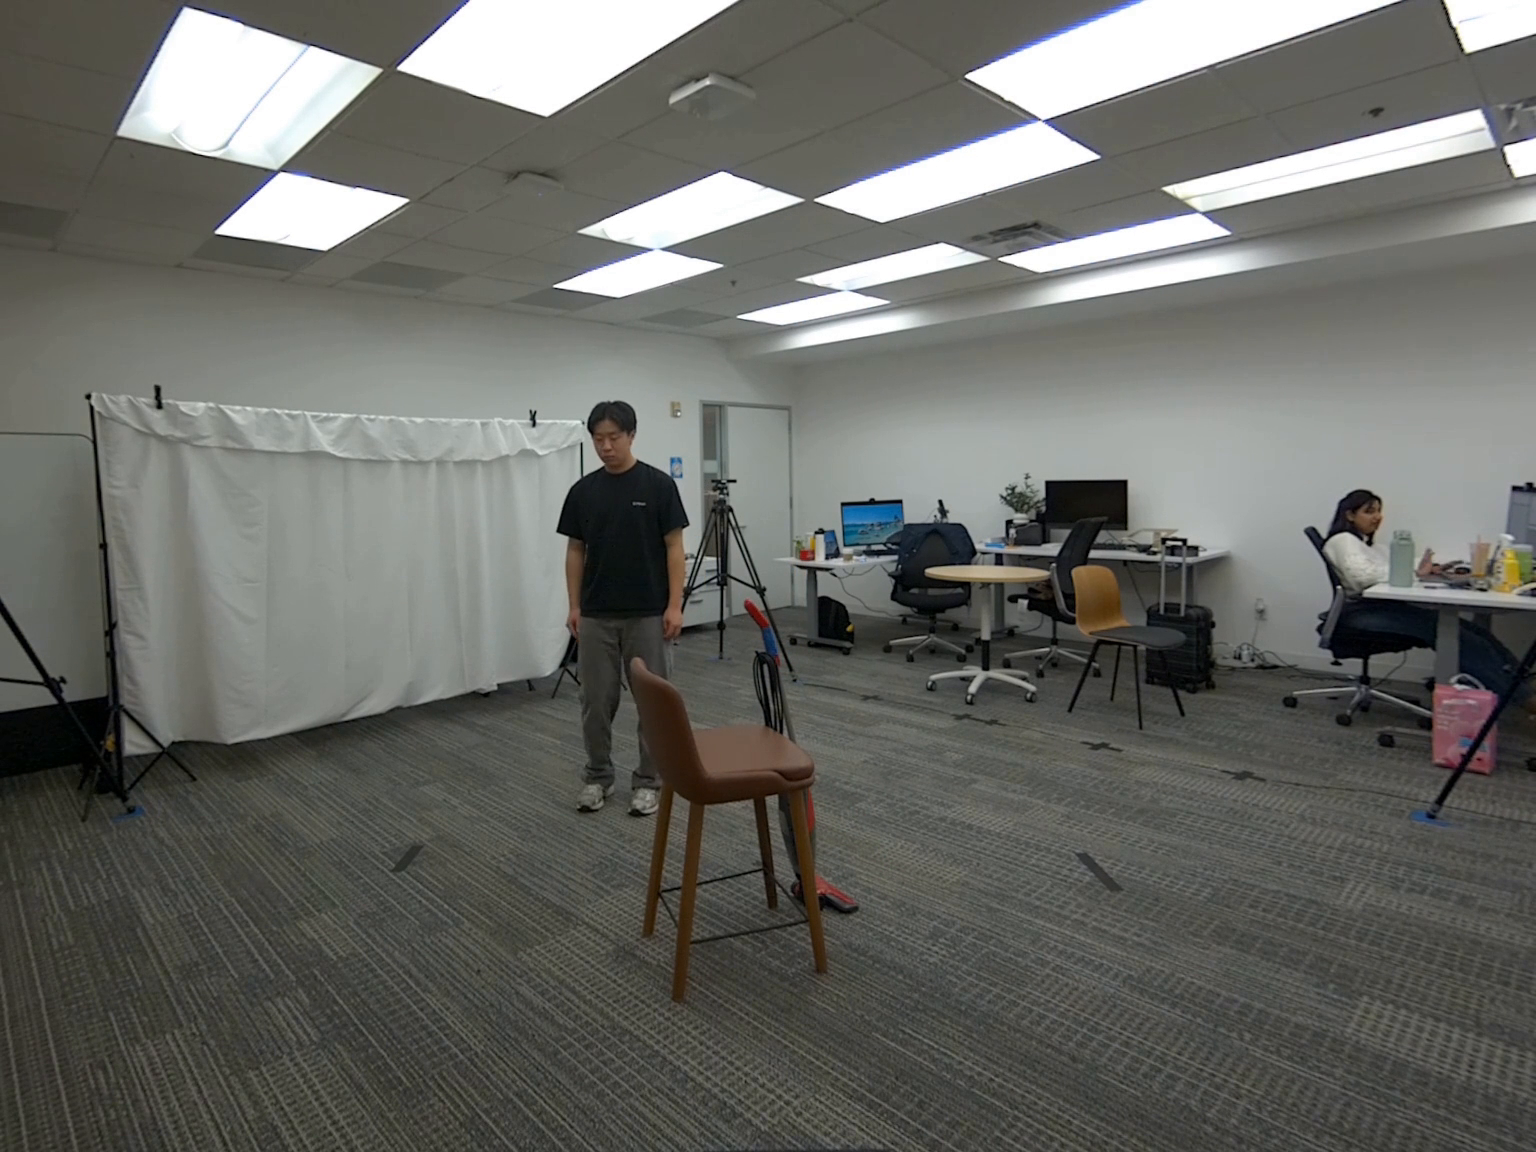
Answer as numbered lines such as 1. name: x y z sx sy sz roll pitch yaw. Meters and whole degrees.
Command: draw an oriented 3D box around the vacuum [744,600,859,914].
1. vacuum: 0.052 0.578 2.735 0.141 1.036 0.260 -19 13 -32
